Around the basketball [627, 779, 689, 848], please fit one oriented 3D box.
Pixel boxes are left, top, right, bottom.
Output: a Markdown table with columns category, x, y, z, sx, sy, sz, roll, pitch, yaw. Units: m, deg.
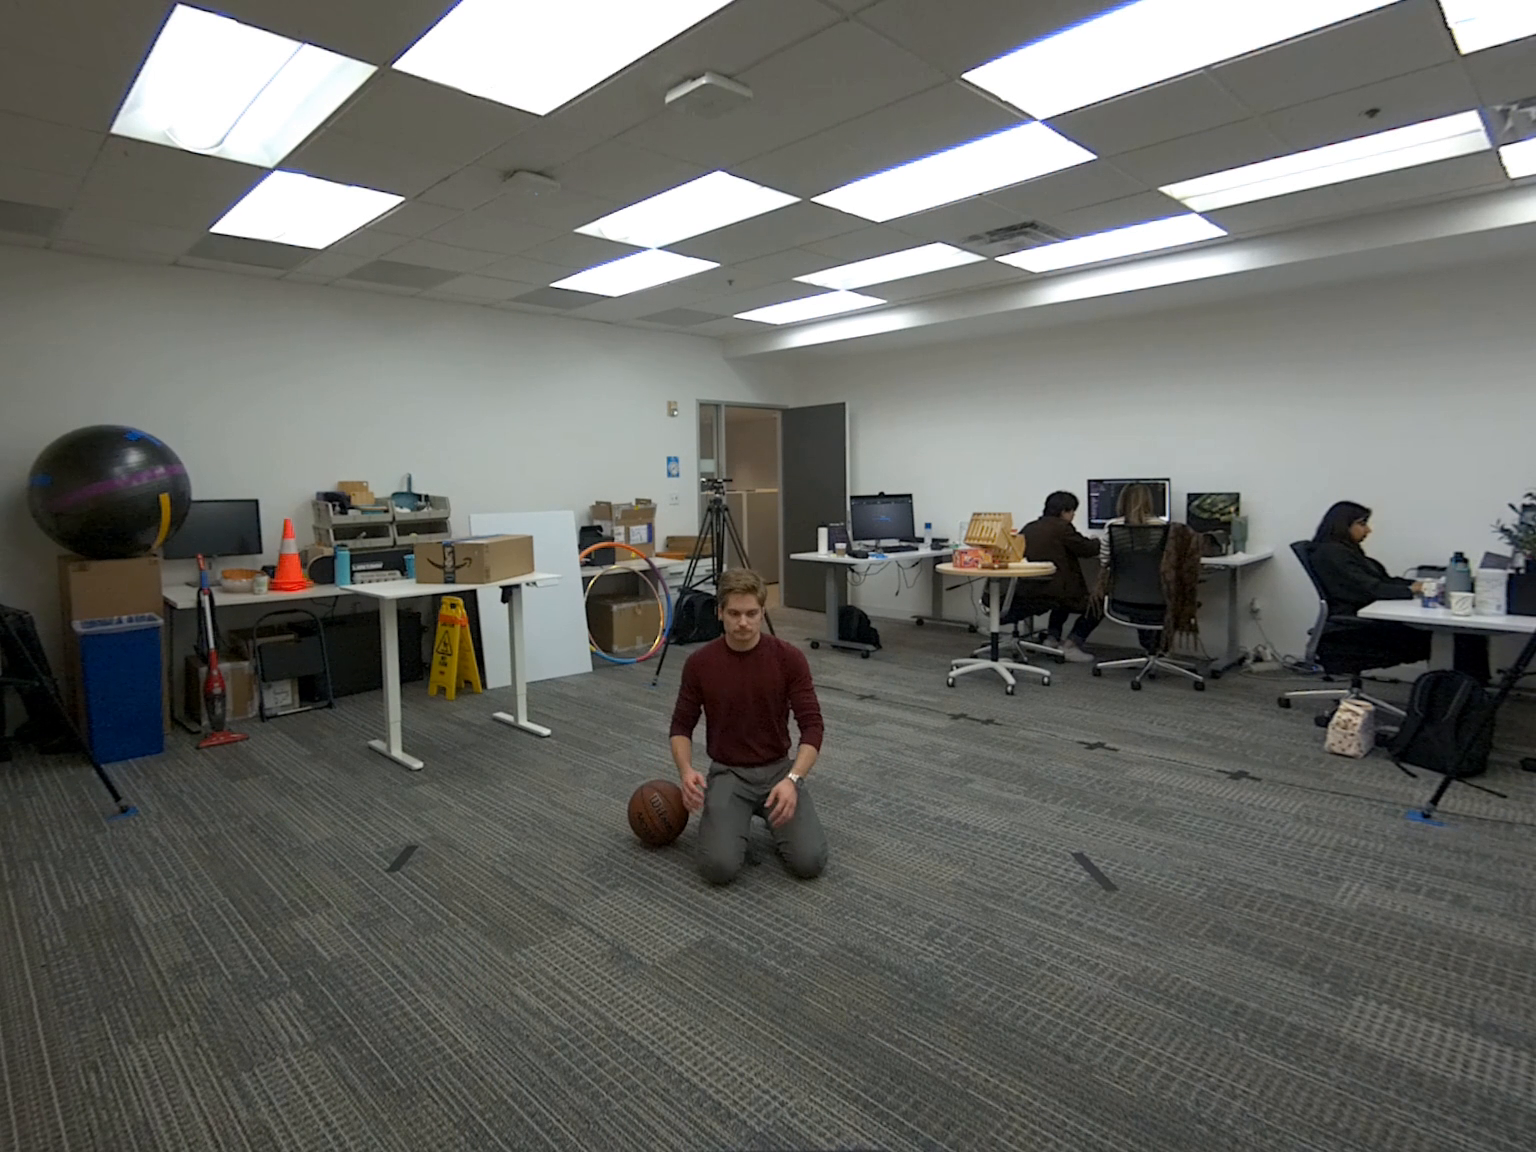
| category | x | y | z | sx | sy | sz | roll | pitch | yaw |
| --- | --- | --- | --- | --- | --- | --- | --- | --- | --- |
| basketball | -0.422 | 0.905 | 3.302 | 0.236 | 0.235 | 0.237 | -1 | 5 | -2 |
